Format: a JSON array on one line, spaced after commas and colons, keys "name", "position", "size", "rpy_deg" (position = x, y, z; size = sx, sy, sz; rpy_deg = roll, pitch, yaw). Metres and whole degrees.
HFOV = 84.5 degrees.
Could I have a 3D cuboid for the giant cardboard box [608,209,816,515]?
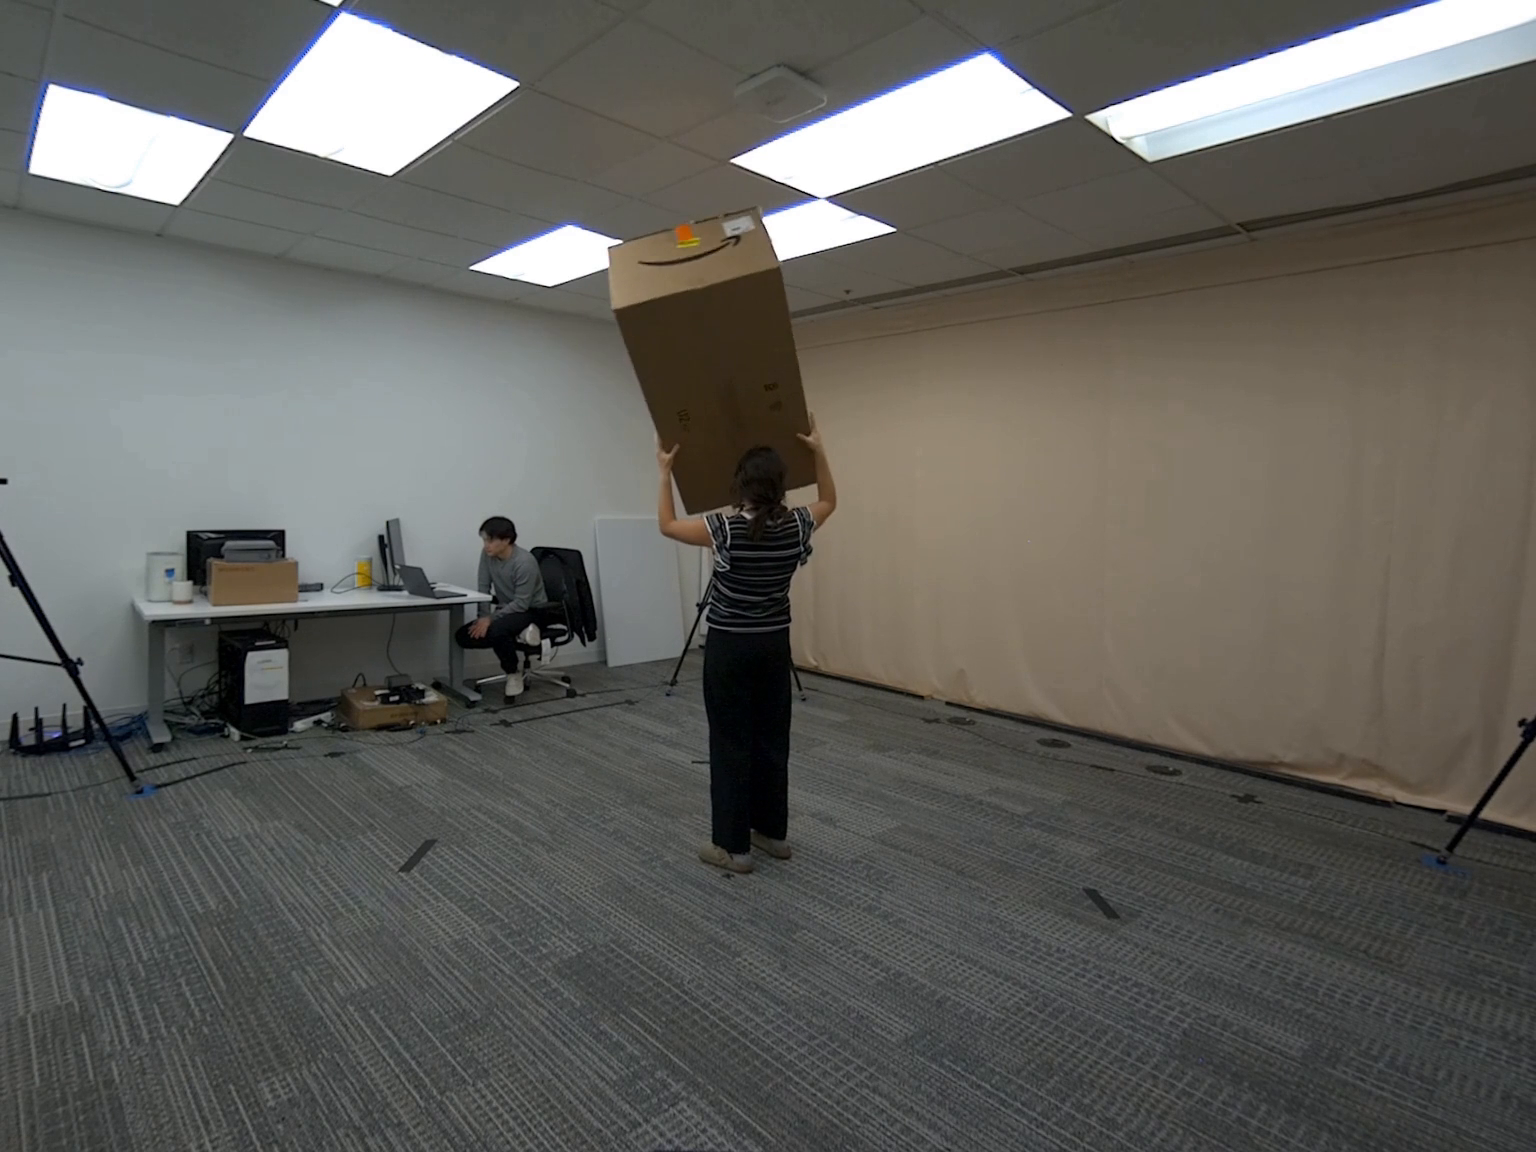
[{"name": "giant cardboard box", "position": [-0.181, -0.775, 3.258], "size": [0.578, 0.437, 0.997], "rpy_deg": [-14, -41, 2]}]
